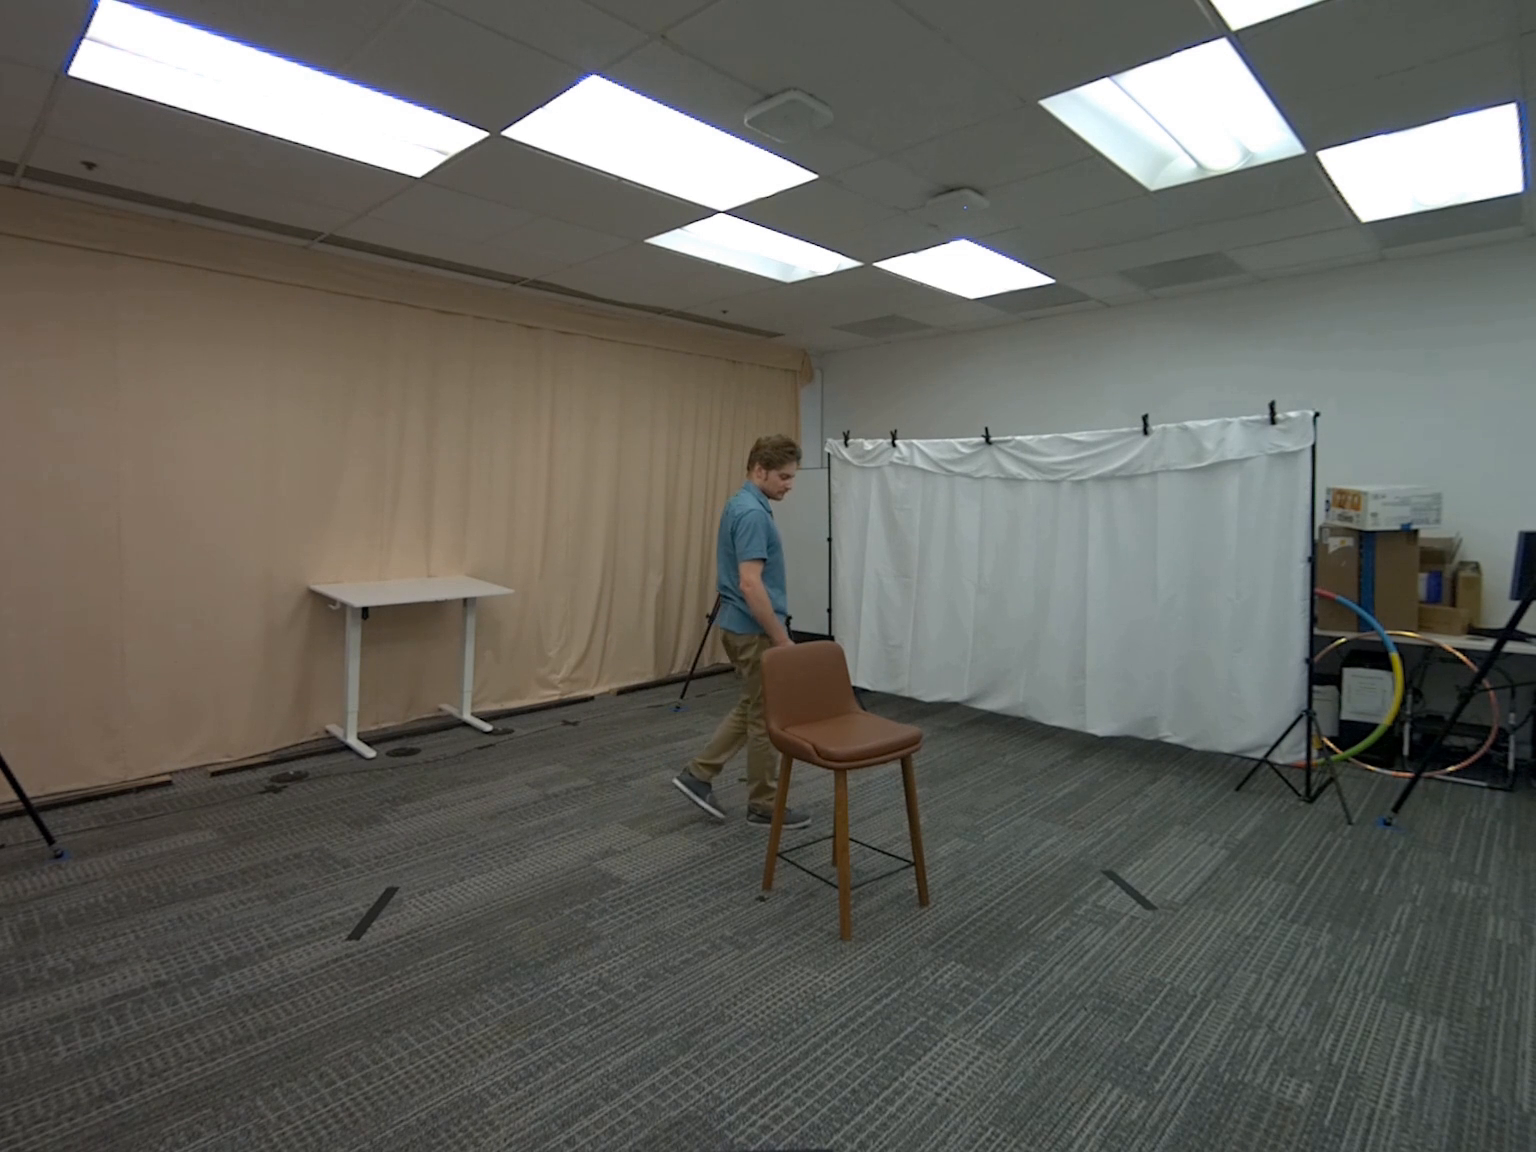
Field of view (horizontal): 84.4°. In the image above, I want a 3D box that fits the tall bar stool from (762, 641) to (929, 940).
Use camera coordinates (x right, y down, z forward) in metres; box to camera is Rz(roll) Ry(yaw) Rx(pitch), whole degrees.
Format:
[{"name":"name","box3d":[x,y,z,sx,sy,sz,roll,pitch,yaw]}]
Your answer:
[{"name":"tall bar stool","box3d":[0.261,0.707,2.972,0.443,0.889,0.482,-3,2,-38]}]
